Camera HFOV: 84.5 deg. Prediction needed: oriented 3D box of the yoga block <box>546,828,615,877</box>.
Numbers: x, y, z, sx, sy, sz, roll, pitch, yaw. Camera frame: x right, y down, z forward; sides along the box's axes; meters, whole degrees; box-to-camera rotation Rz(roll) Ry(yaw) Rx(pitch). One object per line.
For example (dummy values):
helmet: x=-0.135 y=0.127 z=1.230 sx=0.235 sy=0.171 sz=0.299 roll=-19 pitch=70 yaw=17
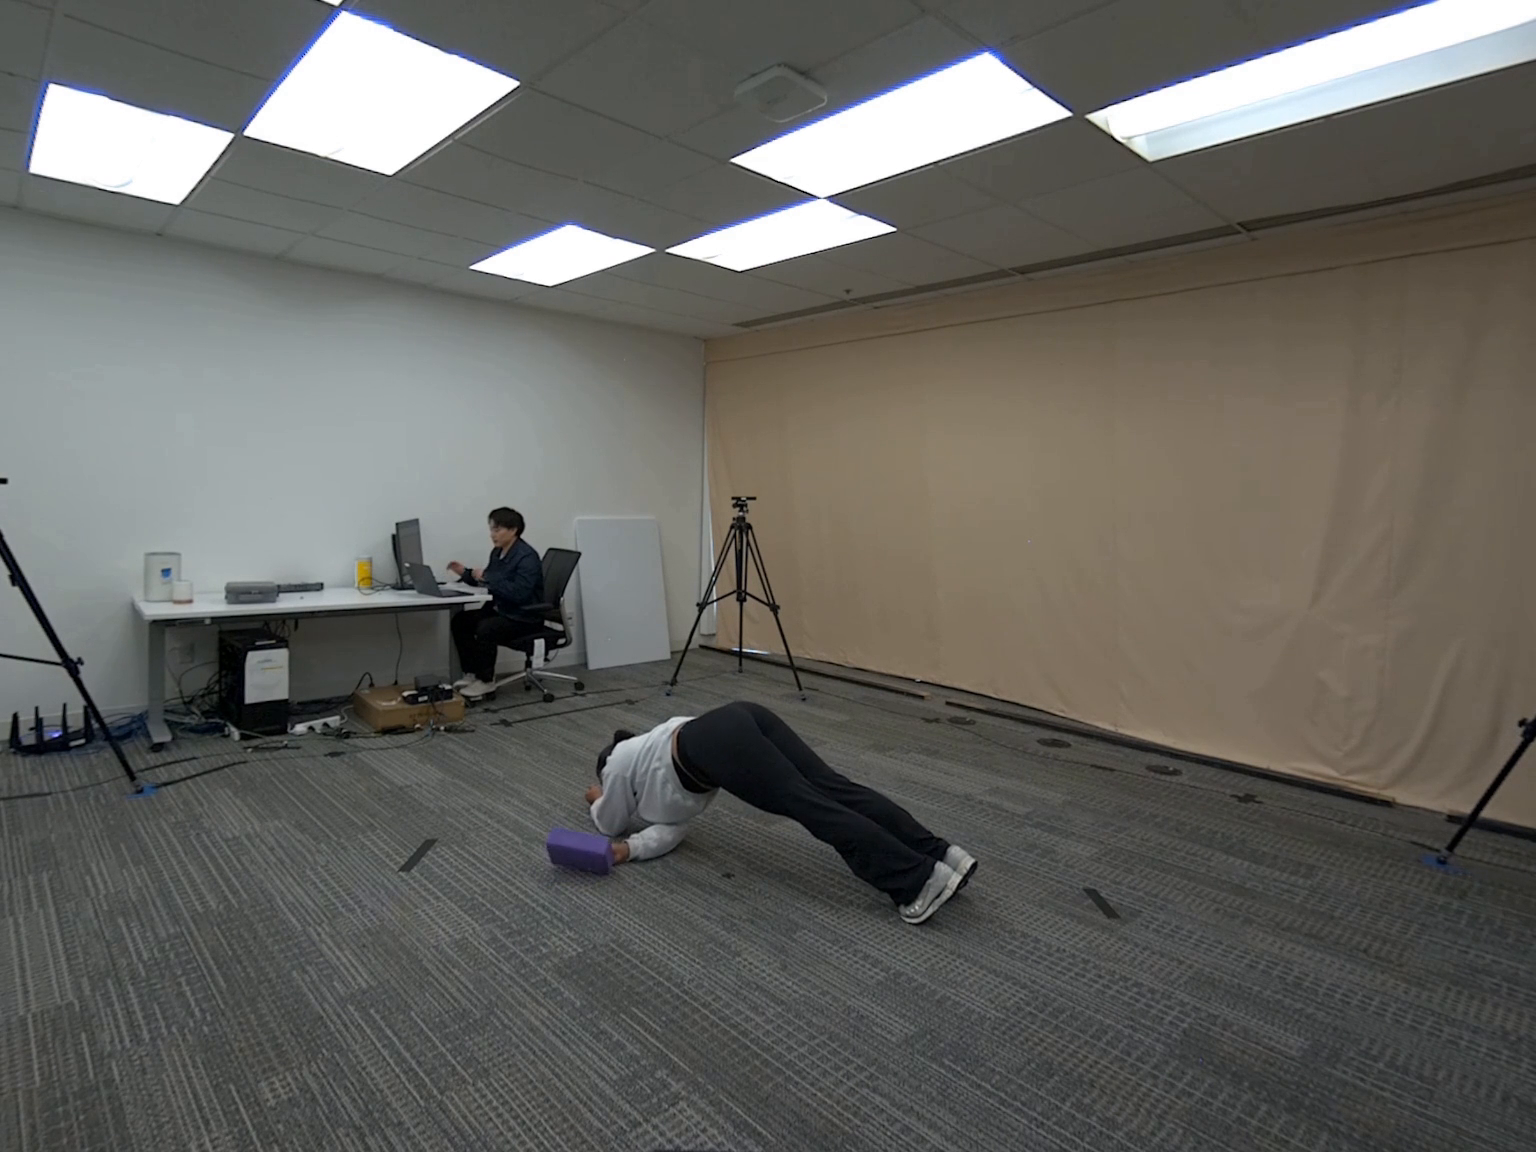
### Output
yoga block: x=-0.696 y=1.011 z=3.086 sx=0.232 sy=0.145 sz=0.077 roll=5 pitch=44 yaw=11
